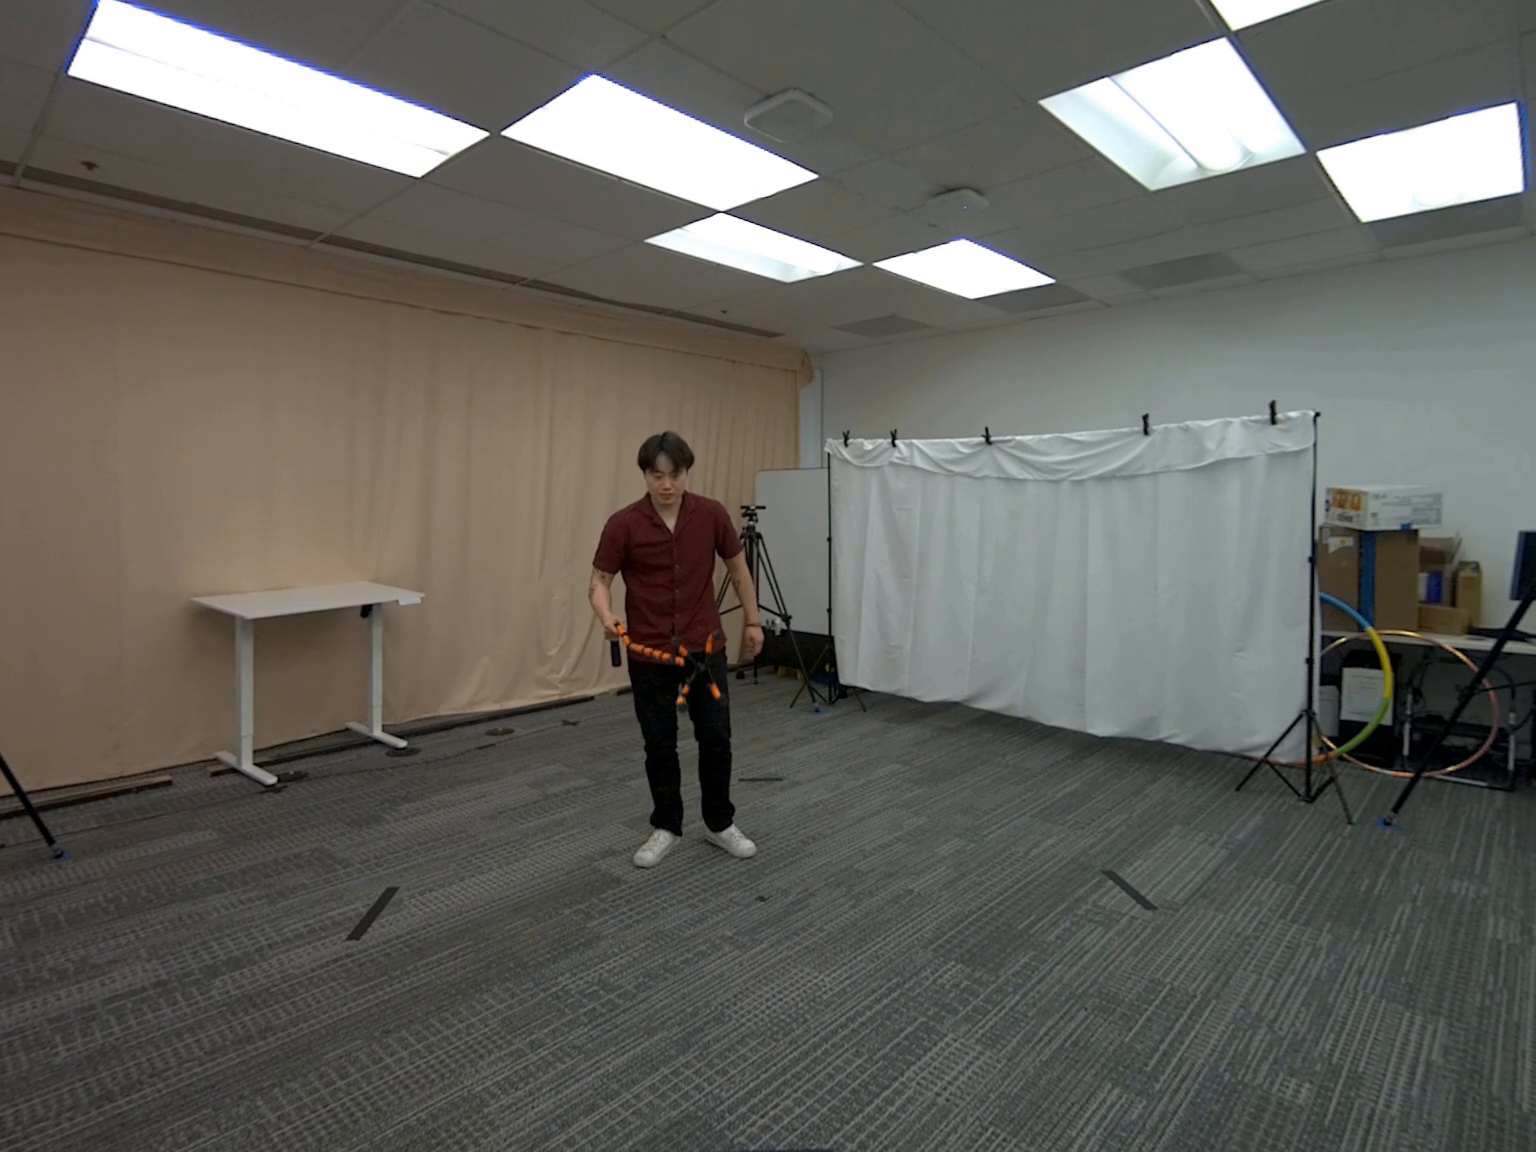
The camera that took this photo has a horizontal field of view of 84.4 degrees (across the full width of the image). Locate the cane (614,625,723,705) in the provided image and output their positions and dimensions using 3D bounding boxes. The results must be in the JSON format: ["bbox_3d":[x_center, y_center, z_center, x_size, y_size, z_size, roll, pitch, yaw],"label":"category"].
[{"bbox_3d":[-0.381,0.256,2.697,0.148,0.206,0.928,-4,2,-24],"label":"cane"}]
